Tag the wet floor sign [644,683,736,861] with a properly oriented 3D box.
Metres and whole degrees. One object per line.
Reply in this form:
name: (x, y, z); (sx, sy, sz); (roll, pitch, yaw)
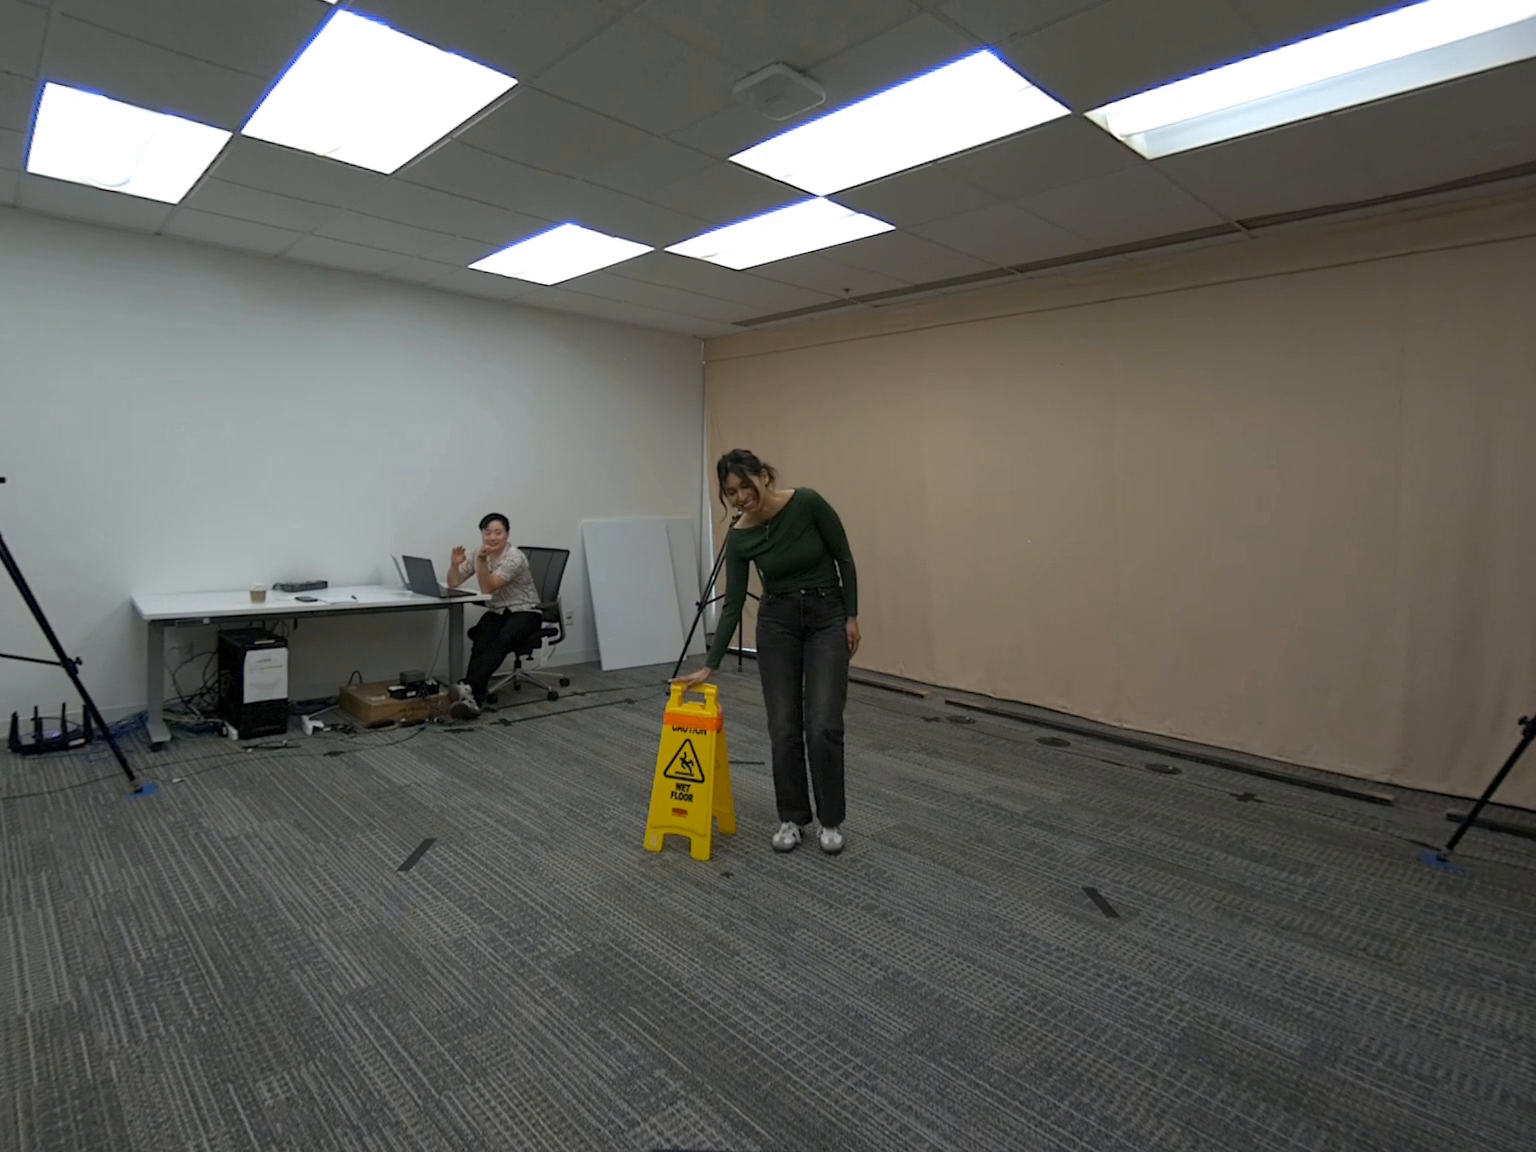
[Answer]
wet floor sign: (-0.306, 0.747, 3.381); (0.287, 0.644, 0.286); (2, 4, 20)
